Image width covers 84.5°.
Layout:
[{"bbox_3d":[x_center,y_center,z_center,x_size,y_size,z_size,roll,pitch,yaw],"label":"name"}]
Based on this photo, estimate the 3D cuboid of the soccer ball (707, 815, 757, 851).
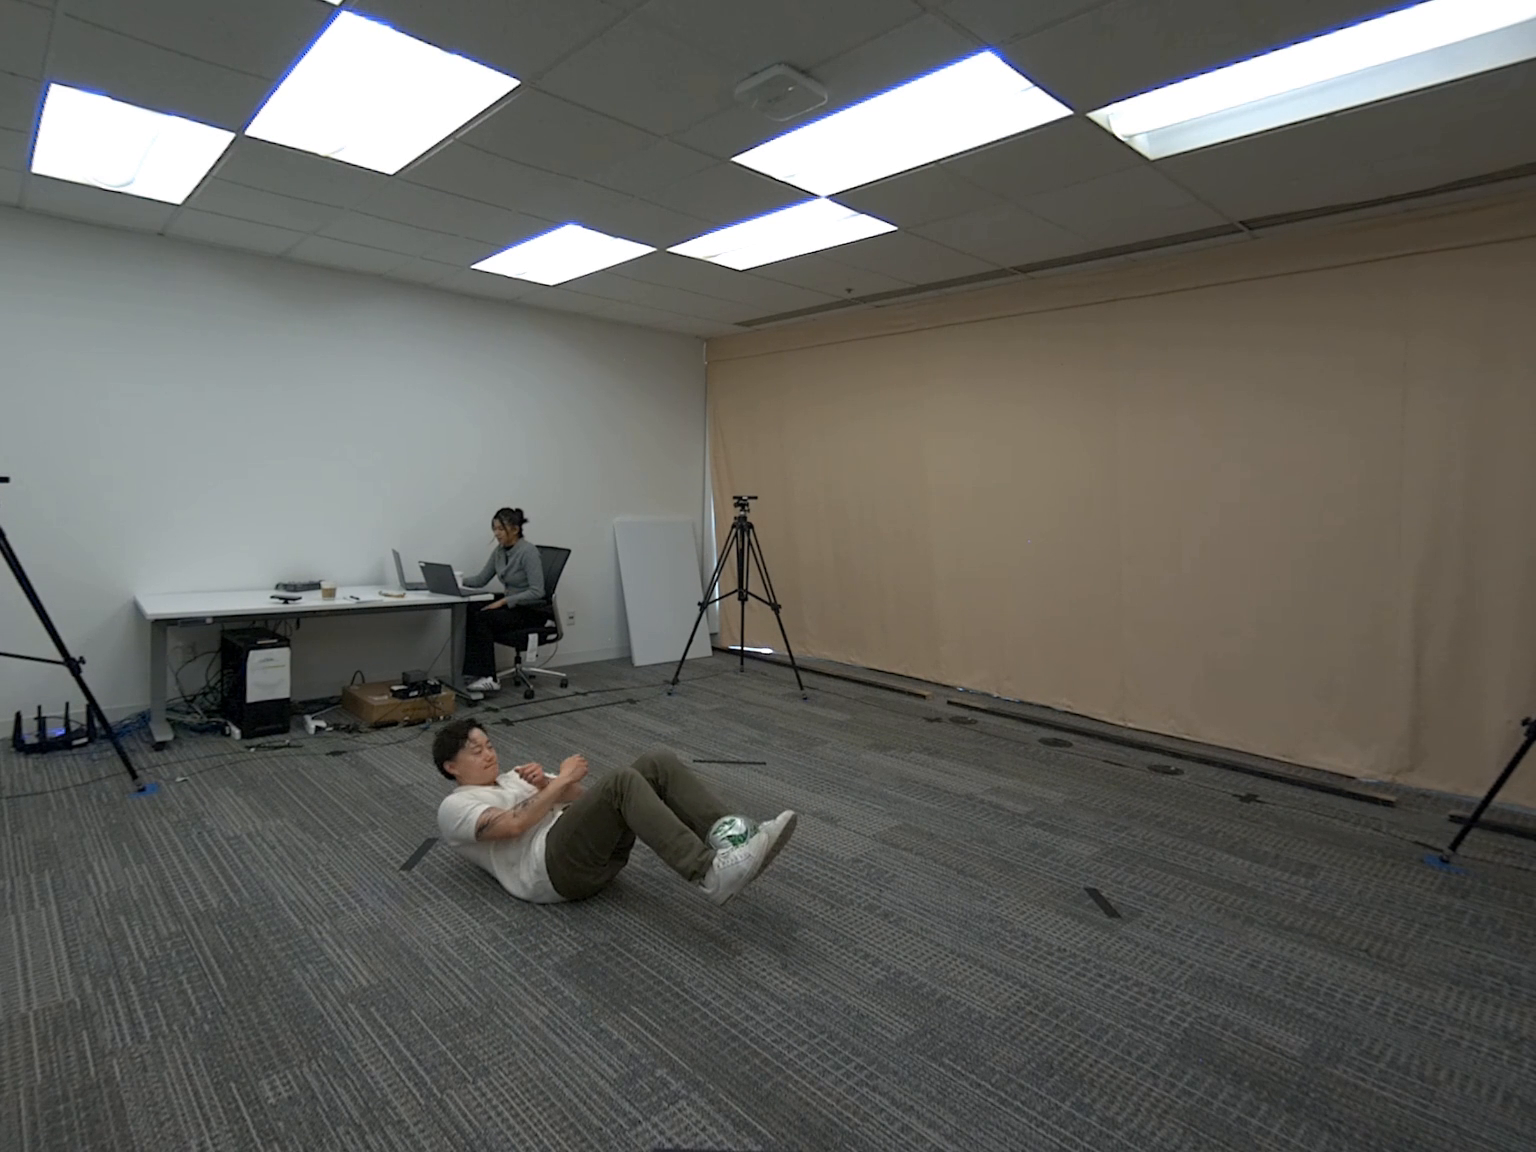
[{"bbox_3d":[-0.125,0.868,2.685,0.187,0.187,0.188,1,4,-1],"label":"soccer ball"}]
